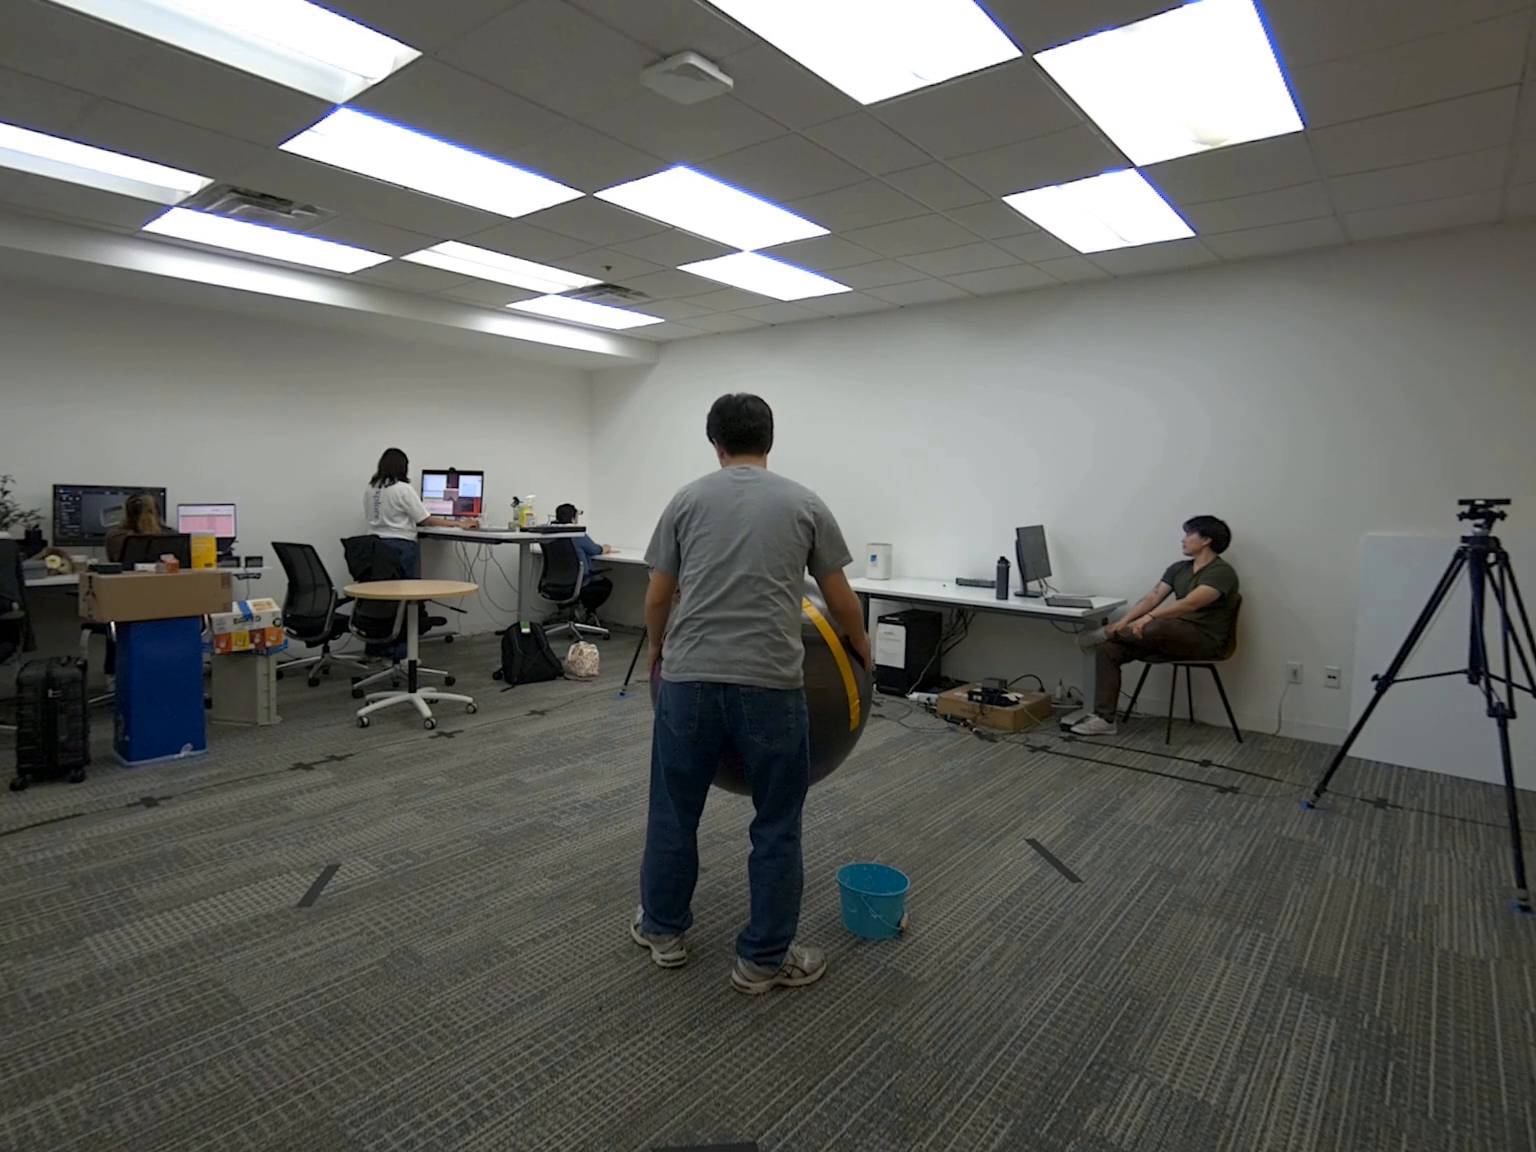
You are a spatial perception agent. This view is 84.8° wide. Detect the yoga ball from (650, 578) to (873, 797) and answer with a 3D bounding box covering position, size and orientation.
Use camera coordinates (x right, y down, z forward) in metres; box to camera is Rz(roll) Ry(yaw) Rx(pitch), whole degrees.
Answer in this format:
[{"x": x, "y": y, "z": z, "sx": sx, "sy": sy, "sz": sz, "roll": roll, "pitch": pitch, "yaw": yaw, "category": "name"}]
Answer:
[{"x": -0.029, "y": 0.358, "z": 2.901, "sx": 0.757, "sy": 0.756, "sz": 0.761, "roll": 1, "pitch": 4, "yaw": -2, "category": "yoga ball"}]
